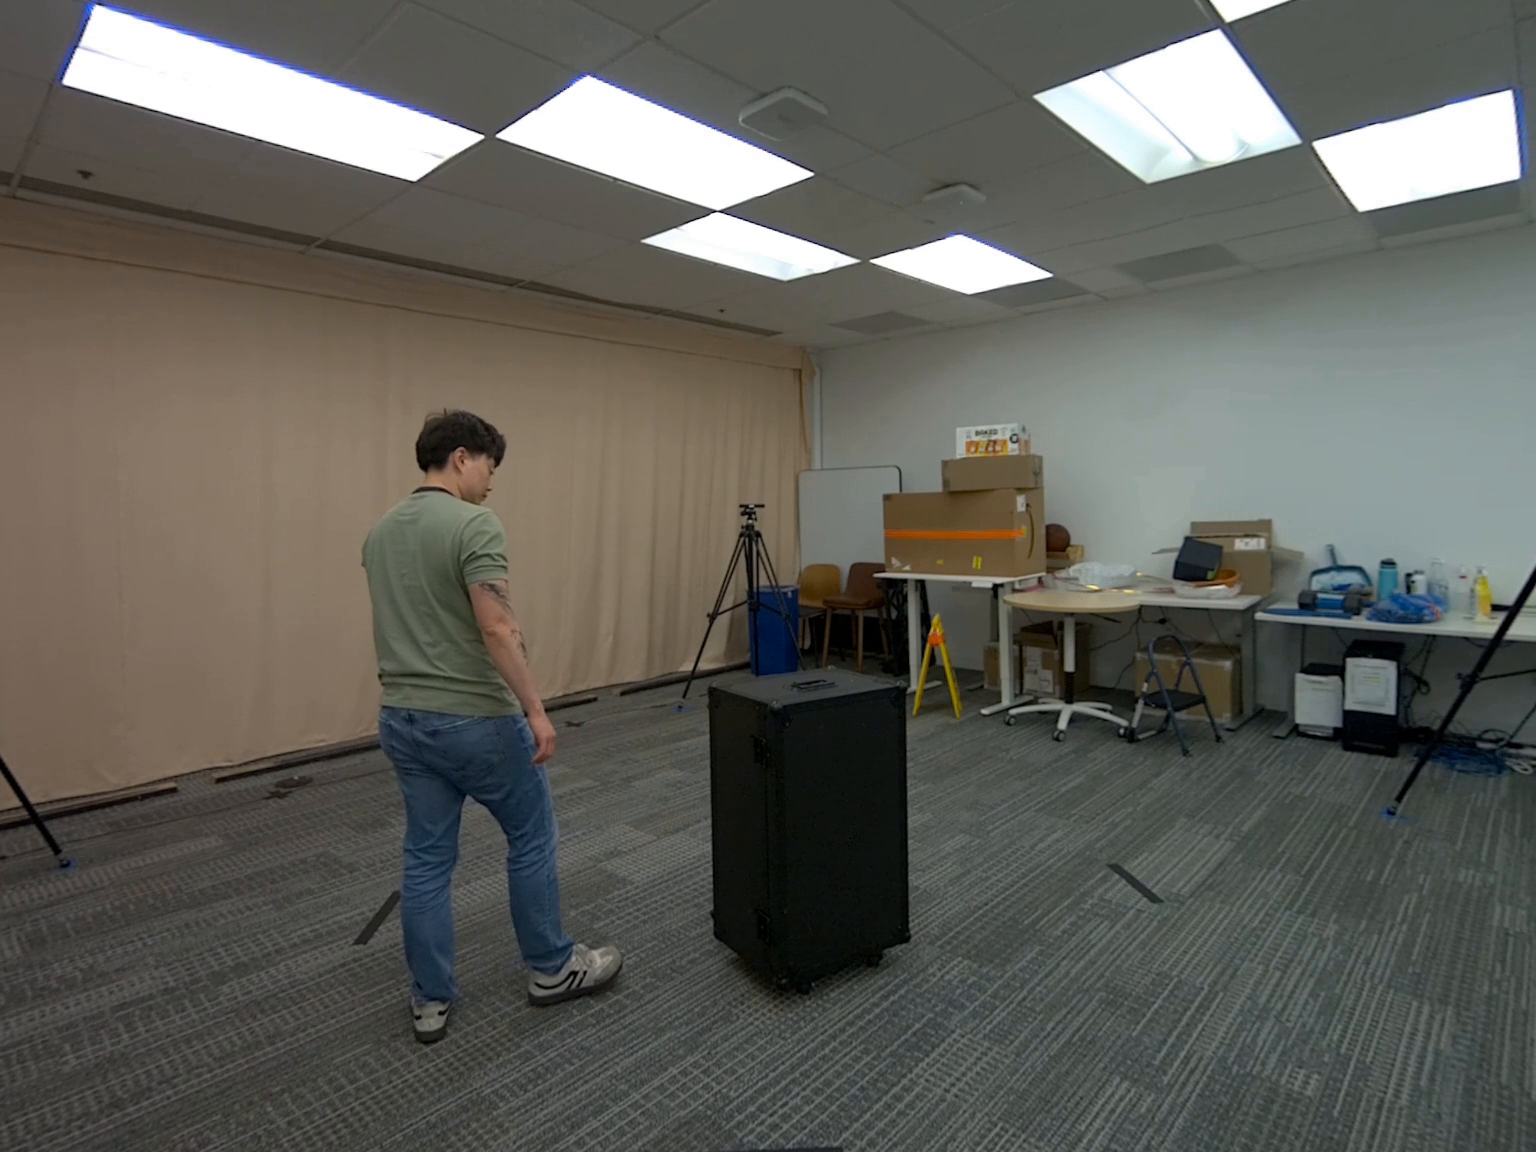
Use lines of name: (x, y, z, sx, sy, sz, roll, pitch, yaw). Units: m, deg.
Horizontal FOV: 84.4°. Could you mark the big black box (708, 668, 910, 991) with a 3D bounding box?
big black box: (0.118, 0.750, 2.551, 0.507, 0.860, 0.408, -3, 2, -33)
